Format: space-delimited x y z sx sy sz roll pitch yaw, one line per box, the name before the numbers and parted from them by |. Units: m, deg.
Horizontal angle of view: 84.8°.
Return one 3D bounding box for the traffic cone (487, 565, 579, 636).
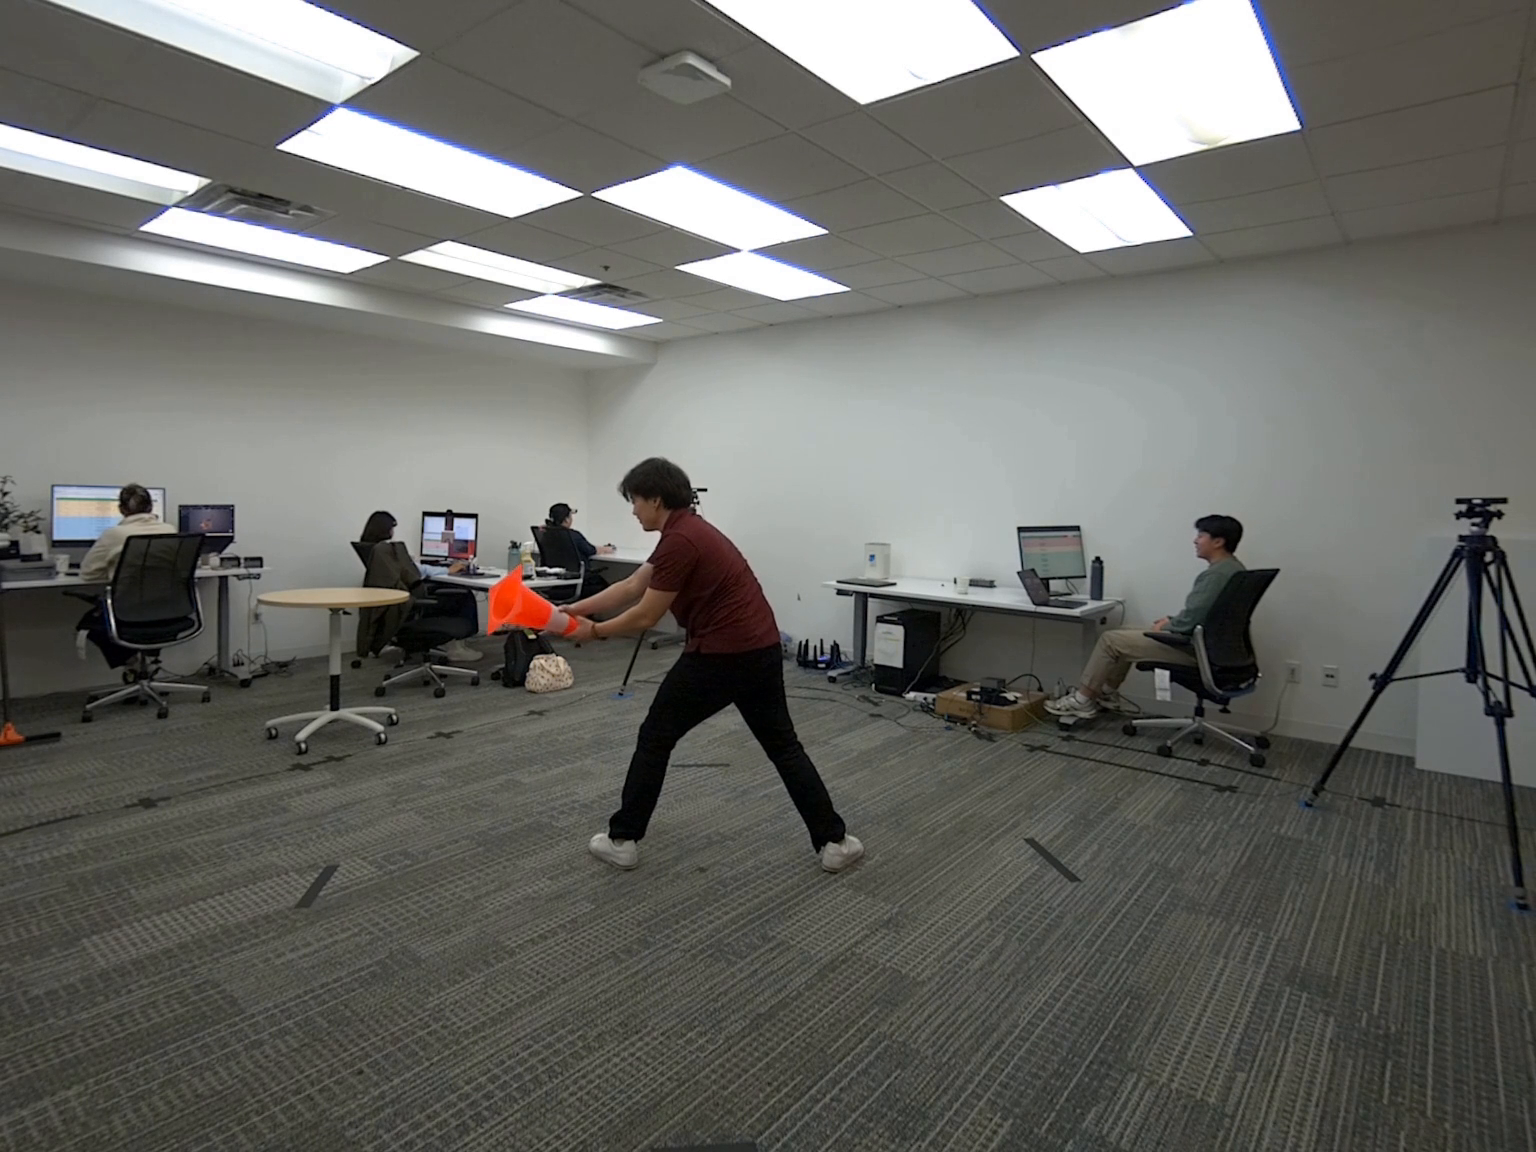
traffic cone | -0.808 0.148 3.090 0.369 0.209 0.207 26 -47 -37
